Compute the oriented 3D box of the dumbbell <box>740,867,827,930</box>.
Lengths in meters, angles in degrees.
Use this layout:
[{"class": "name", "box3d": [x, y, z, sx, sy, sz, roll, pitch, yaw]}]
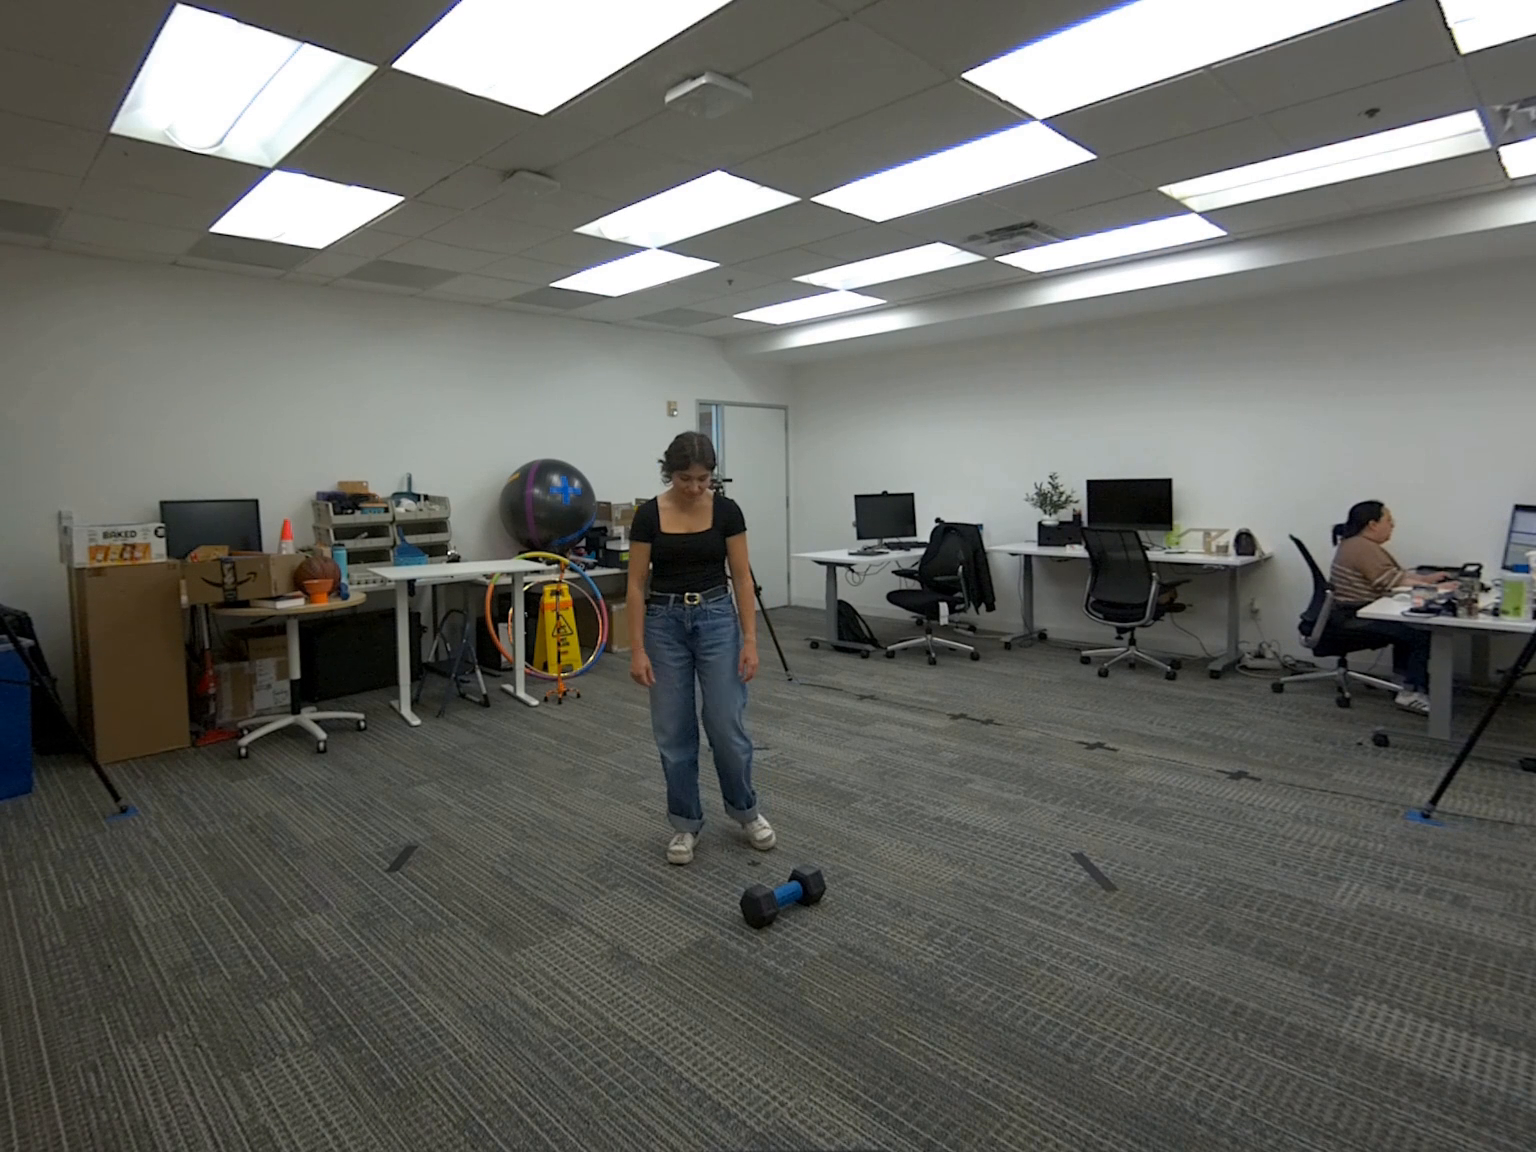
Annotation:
[{"class": "dumbbell", "box3d": [0.054, 1.029, 2.756, 0.286, 0.121, 0.113, -6, 38, -40]}]
